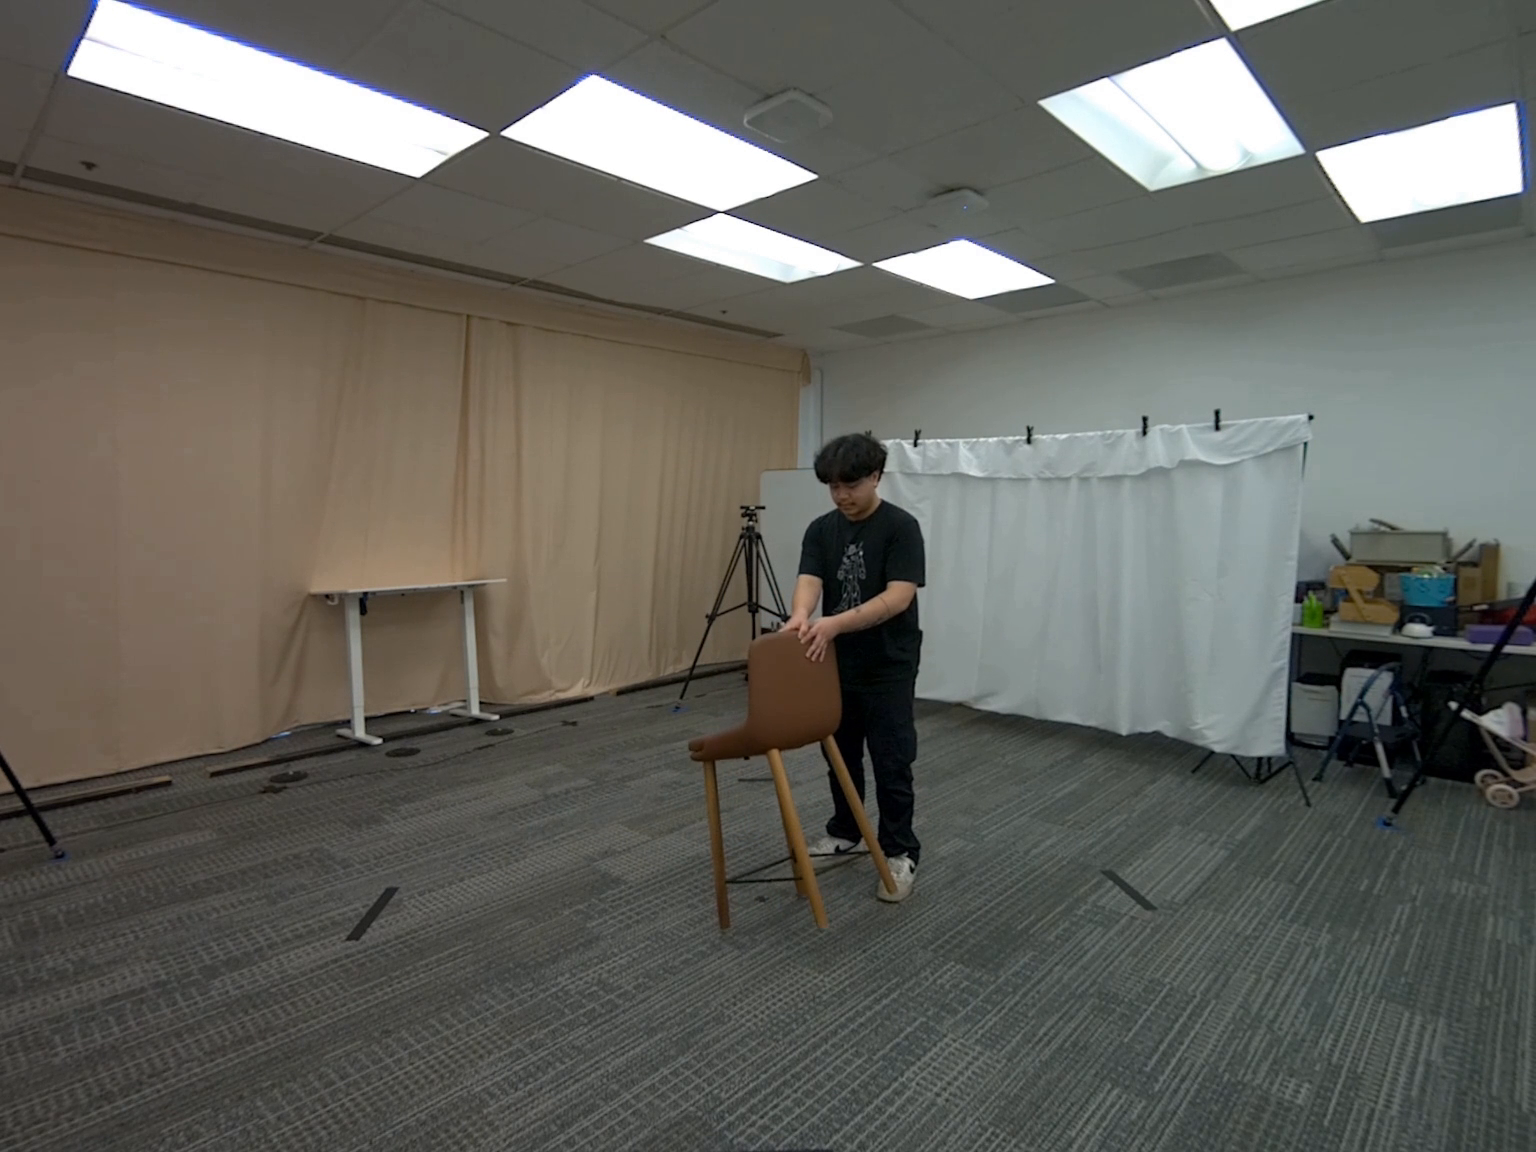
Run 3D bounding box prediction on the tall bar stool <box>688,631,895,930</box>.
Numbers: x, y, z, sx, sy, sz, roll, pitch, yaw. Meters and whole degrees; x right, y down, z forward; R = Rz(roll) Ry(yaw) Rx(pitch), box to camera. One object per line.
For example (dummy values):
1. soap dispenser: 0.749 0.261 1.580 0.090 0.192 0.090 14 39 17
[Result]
1. tall bar stool: 0.042 0.665 2.816 0.442 0.899 0.478 -1 -16 -44
